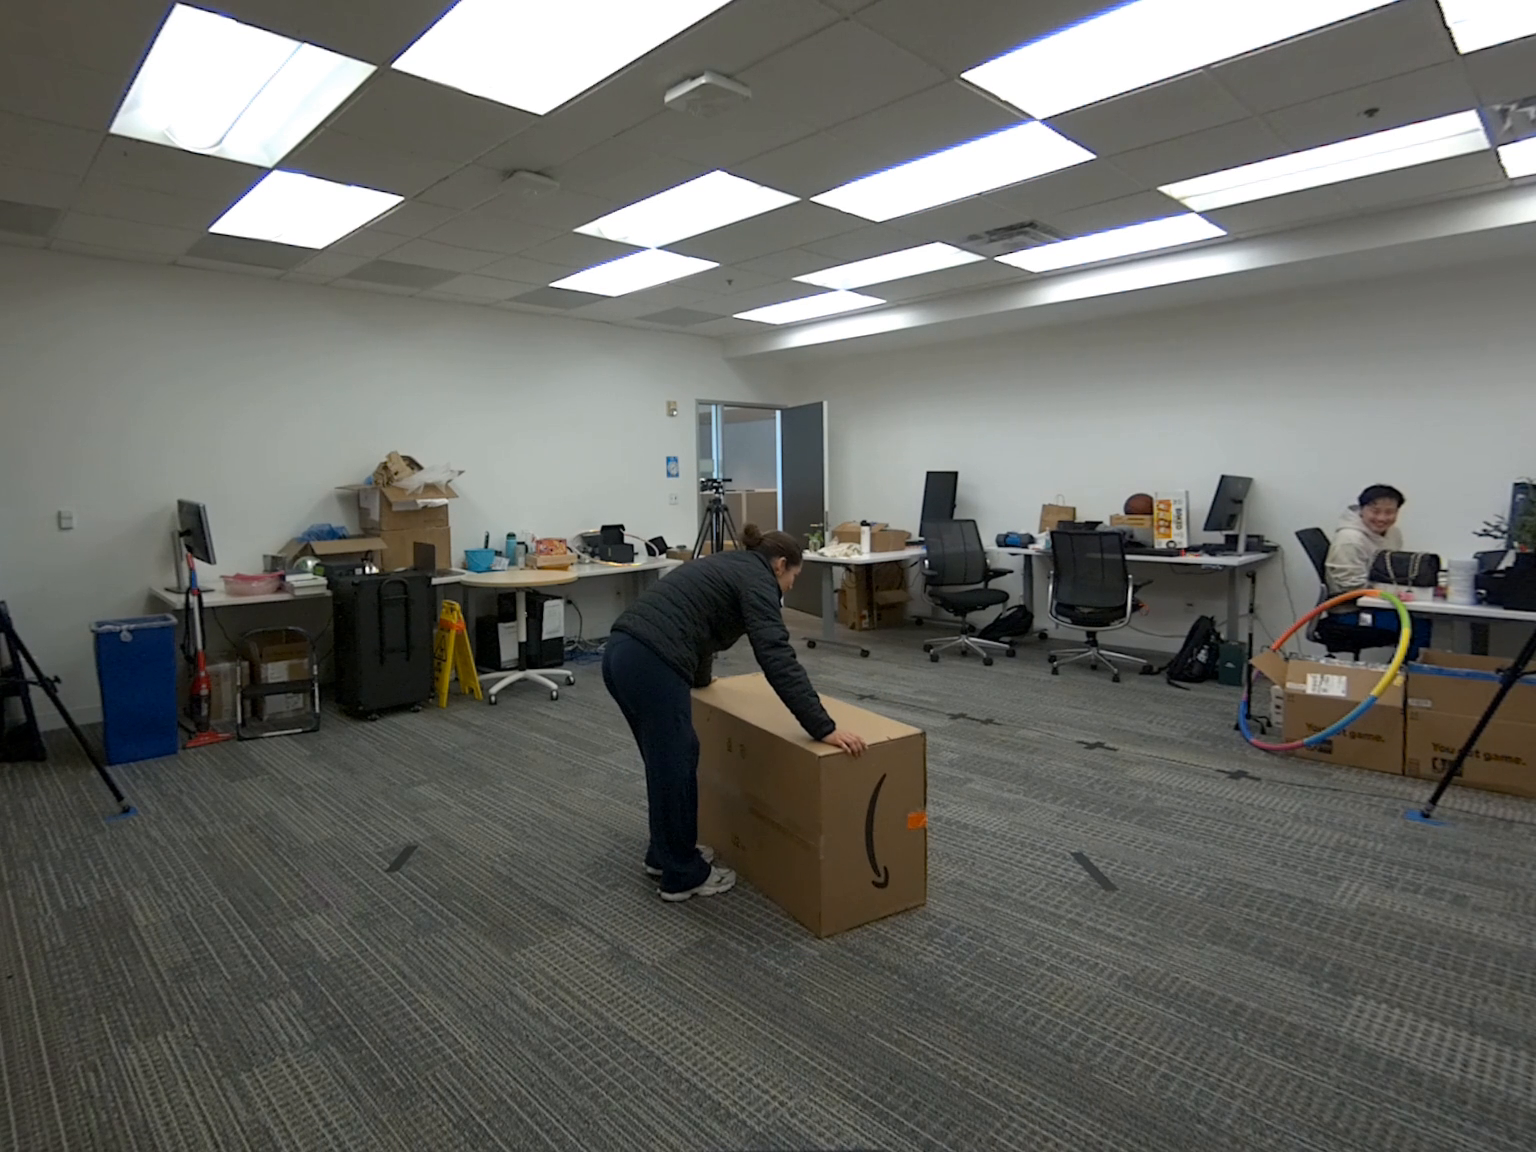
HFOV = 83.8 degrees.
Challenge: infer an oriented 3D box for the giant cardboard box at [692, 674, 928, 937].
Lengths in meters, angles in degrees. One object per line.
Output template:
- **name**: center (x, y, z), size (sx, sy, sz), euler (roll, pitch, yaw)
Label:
- **giant cardboard box**: center (0.064, 0.754, 3.129), size (0.437, 0.581, 1.056), euler (-5, 7, -30)
